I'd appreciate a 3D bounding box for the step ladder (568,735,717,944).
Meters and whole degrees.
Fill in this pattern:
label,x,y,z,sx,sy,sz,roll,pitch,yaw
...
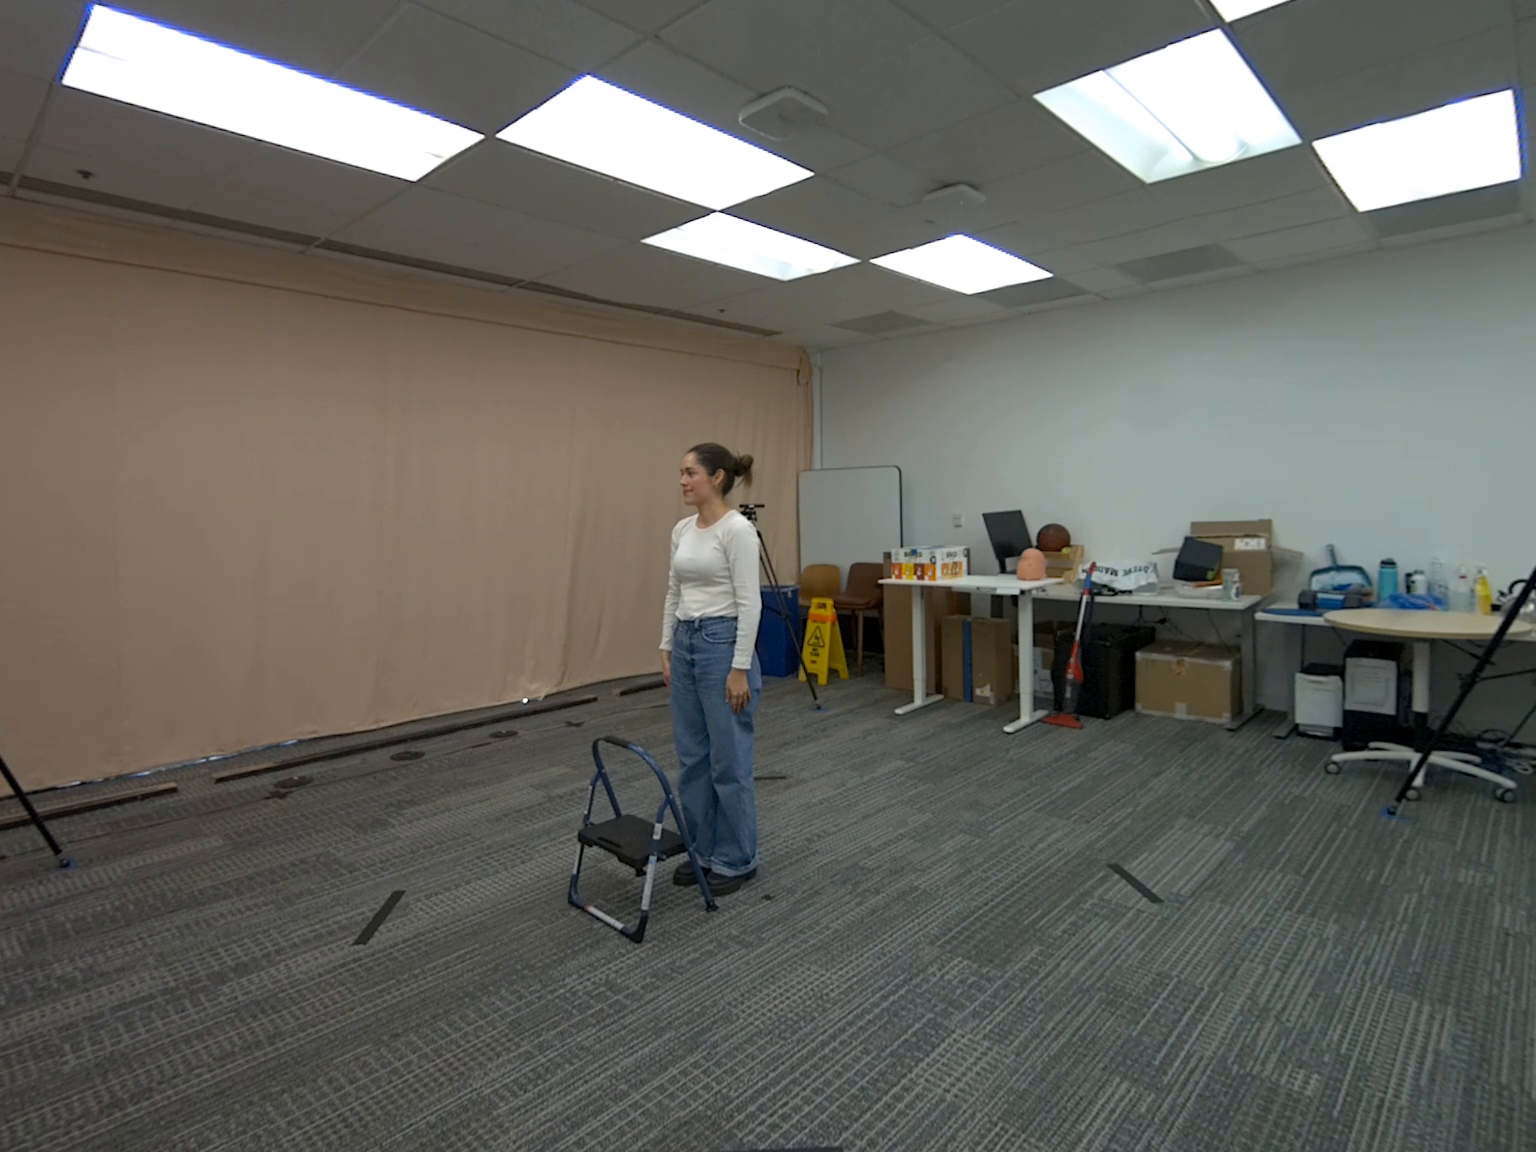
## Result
label,x,y,z,sx,sy,sz,roll,pitch,yaw
step ladder,-0.451,0.853,2.925,0.445,0.605,0.338,1,4,44
